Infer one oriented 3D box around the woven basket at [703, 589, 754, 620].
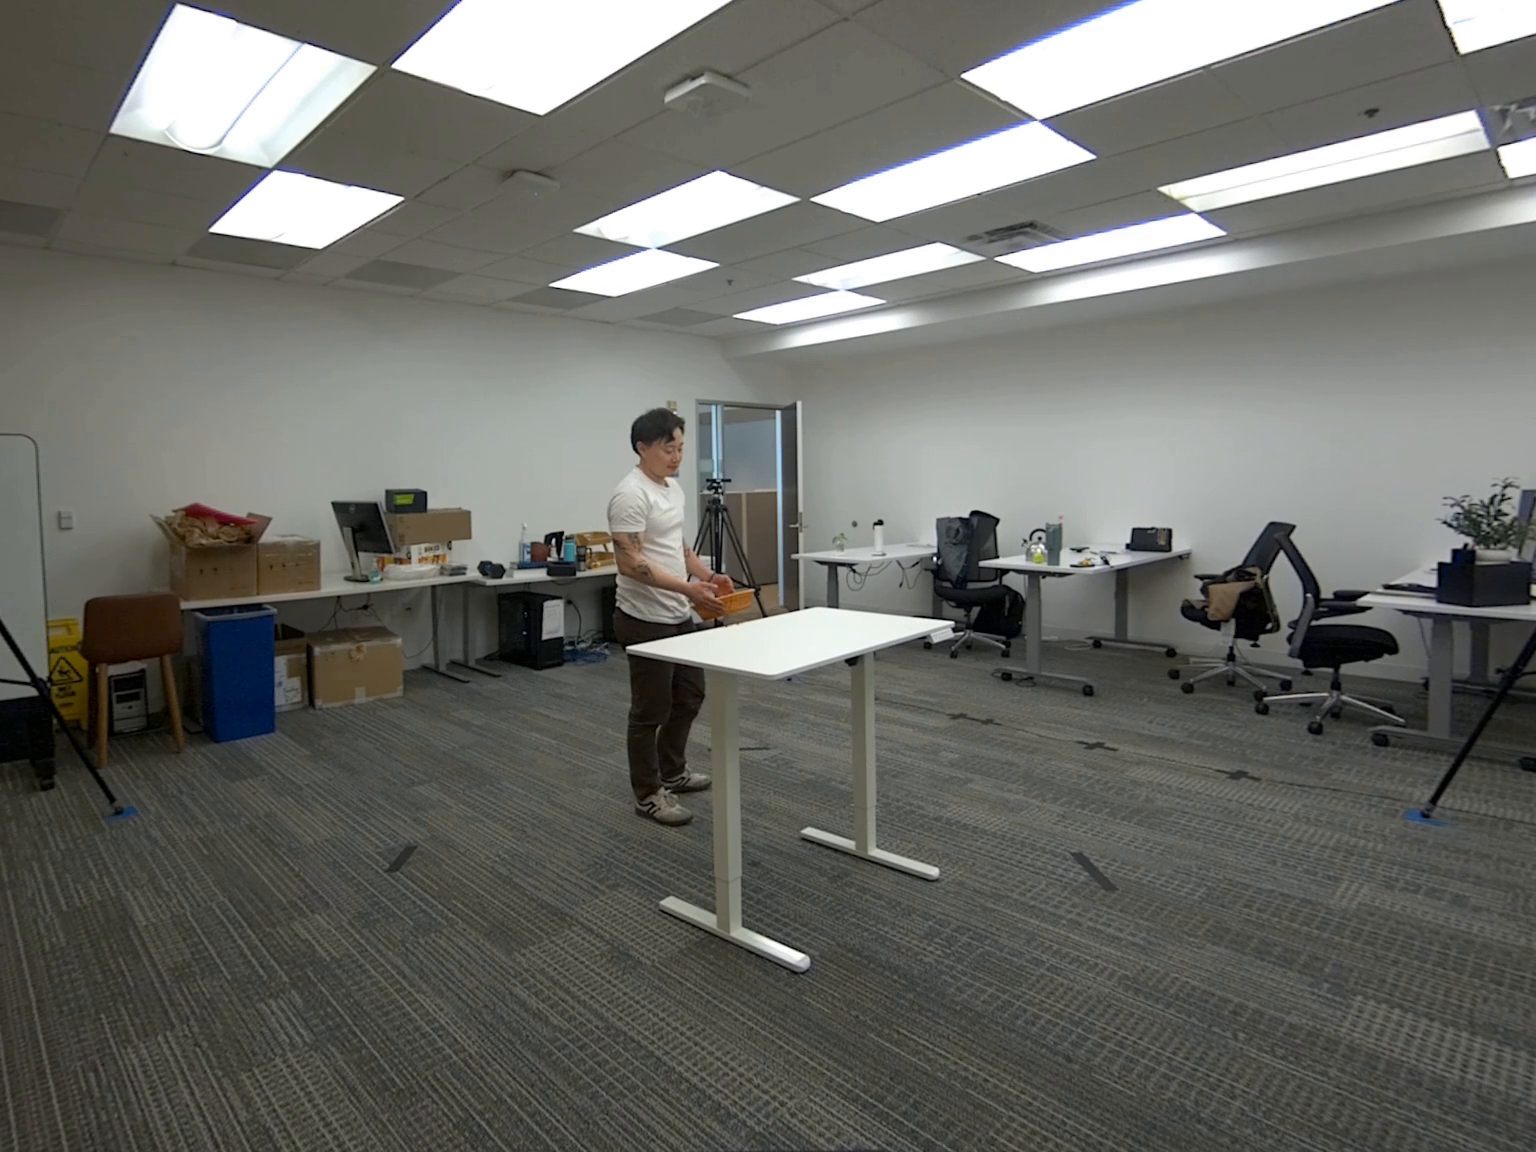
[{"bbox_3d":[-0.179,0.116,3.492,0.254,0.074,0.347,-15,-1,9],"label":"woven basket"}]
